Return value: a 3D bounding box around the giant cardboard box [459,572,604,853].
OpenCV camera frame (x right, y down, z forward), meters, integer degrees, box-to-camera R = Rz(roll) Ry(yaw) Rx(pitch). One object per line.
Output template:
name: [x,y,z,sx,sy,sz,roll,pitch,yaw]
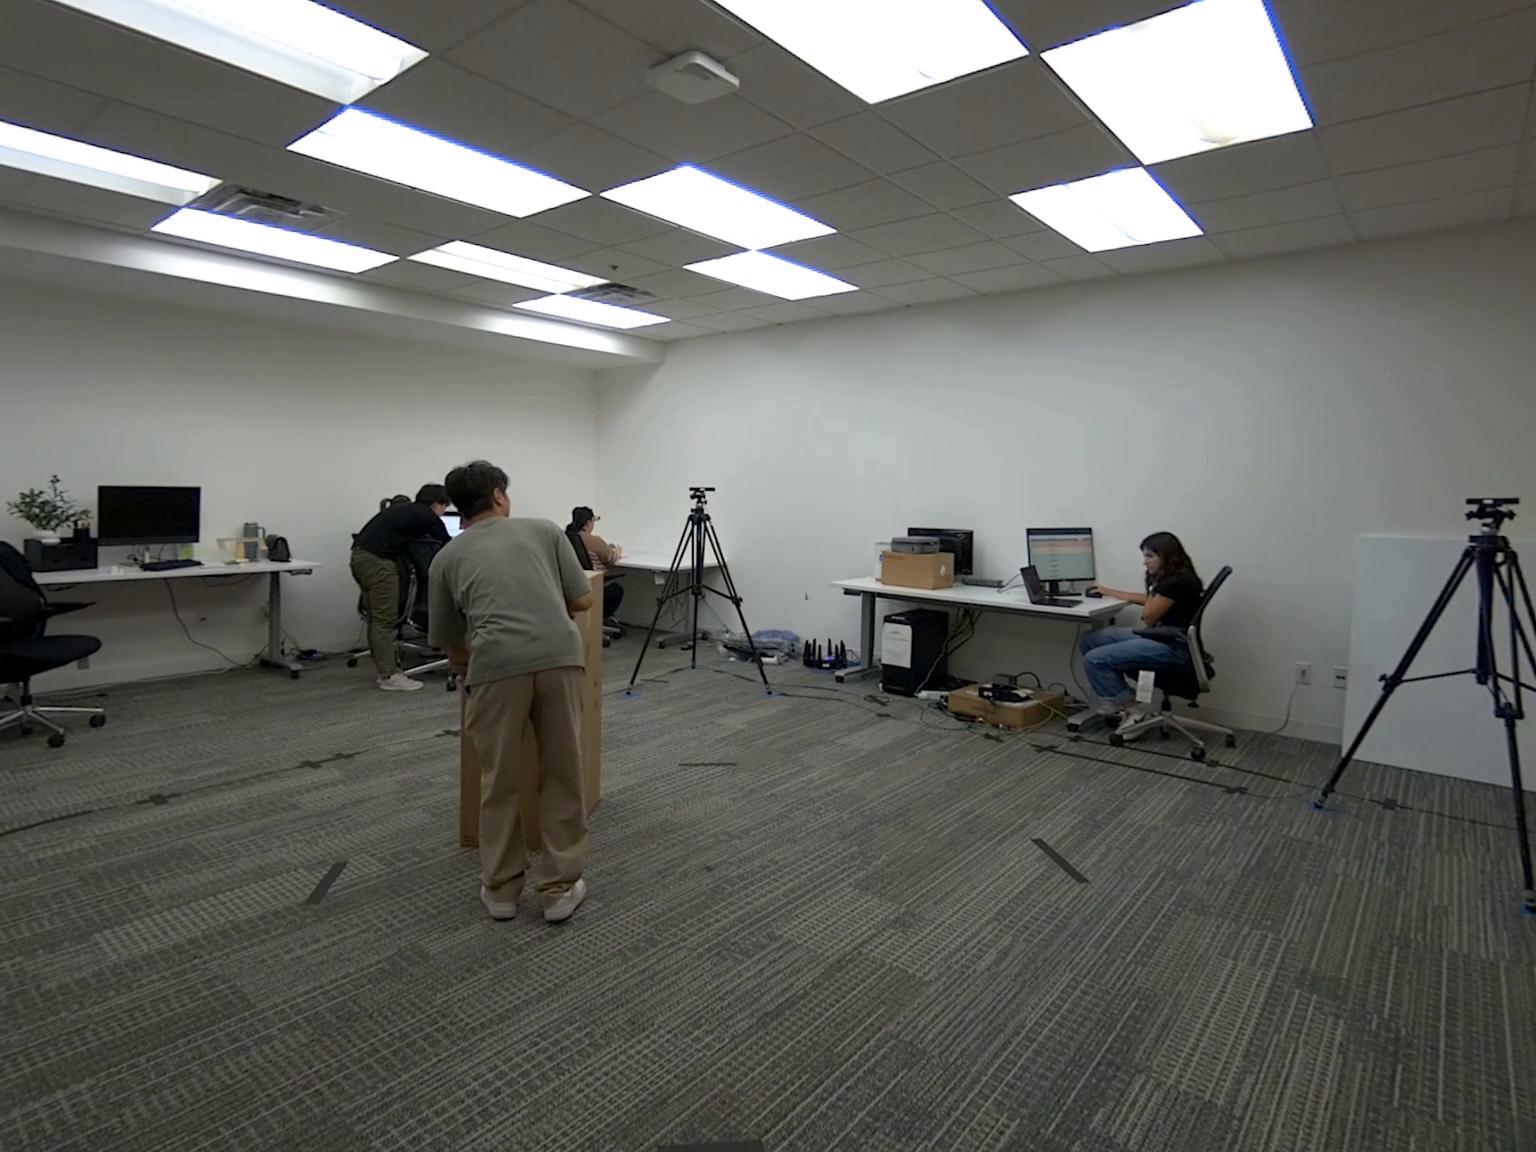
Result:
giant cardboard box: [-0.967,0.507,3.507,0.428,1.023,0.577,2,3,3]
